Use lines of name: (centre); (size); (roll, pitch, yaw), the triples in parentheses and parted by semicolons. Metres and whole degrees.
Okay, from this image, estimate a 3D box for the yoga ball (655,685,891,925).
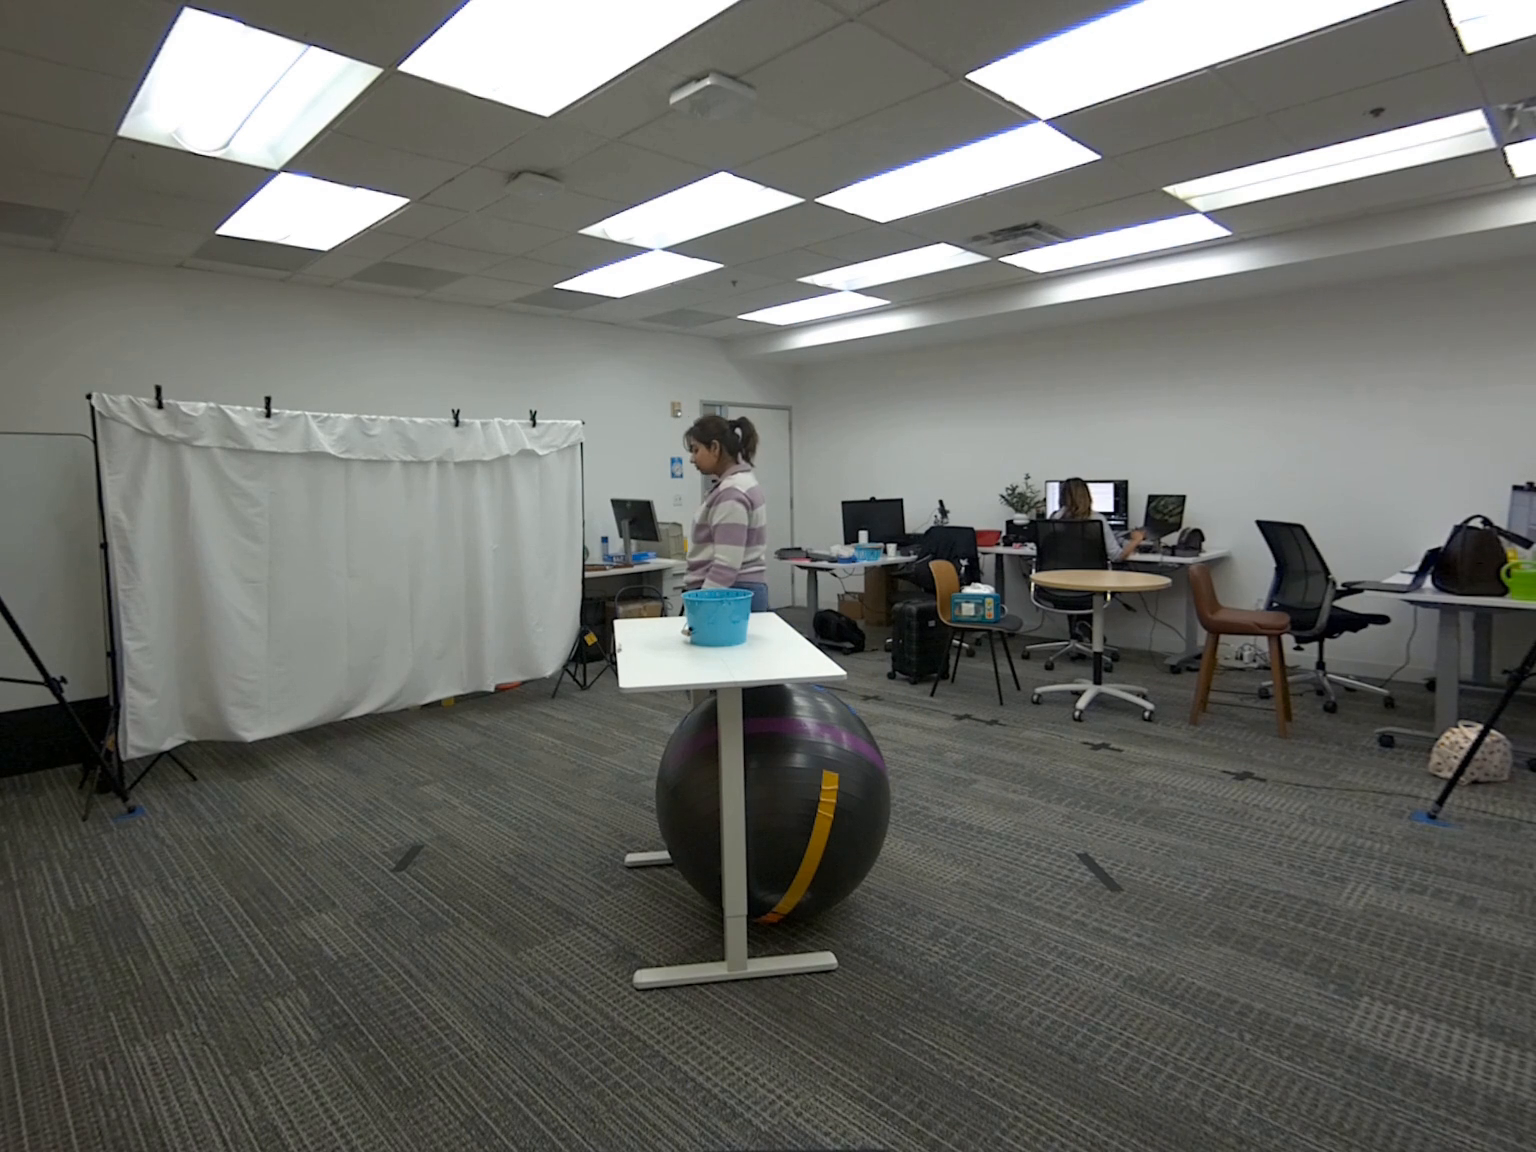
yoga ball: (0.019, 0.719, 2.765); (0.757, 0.755, 0.762); (-1, 5, -2)
